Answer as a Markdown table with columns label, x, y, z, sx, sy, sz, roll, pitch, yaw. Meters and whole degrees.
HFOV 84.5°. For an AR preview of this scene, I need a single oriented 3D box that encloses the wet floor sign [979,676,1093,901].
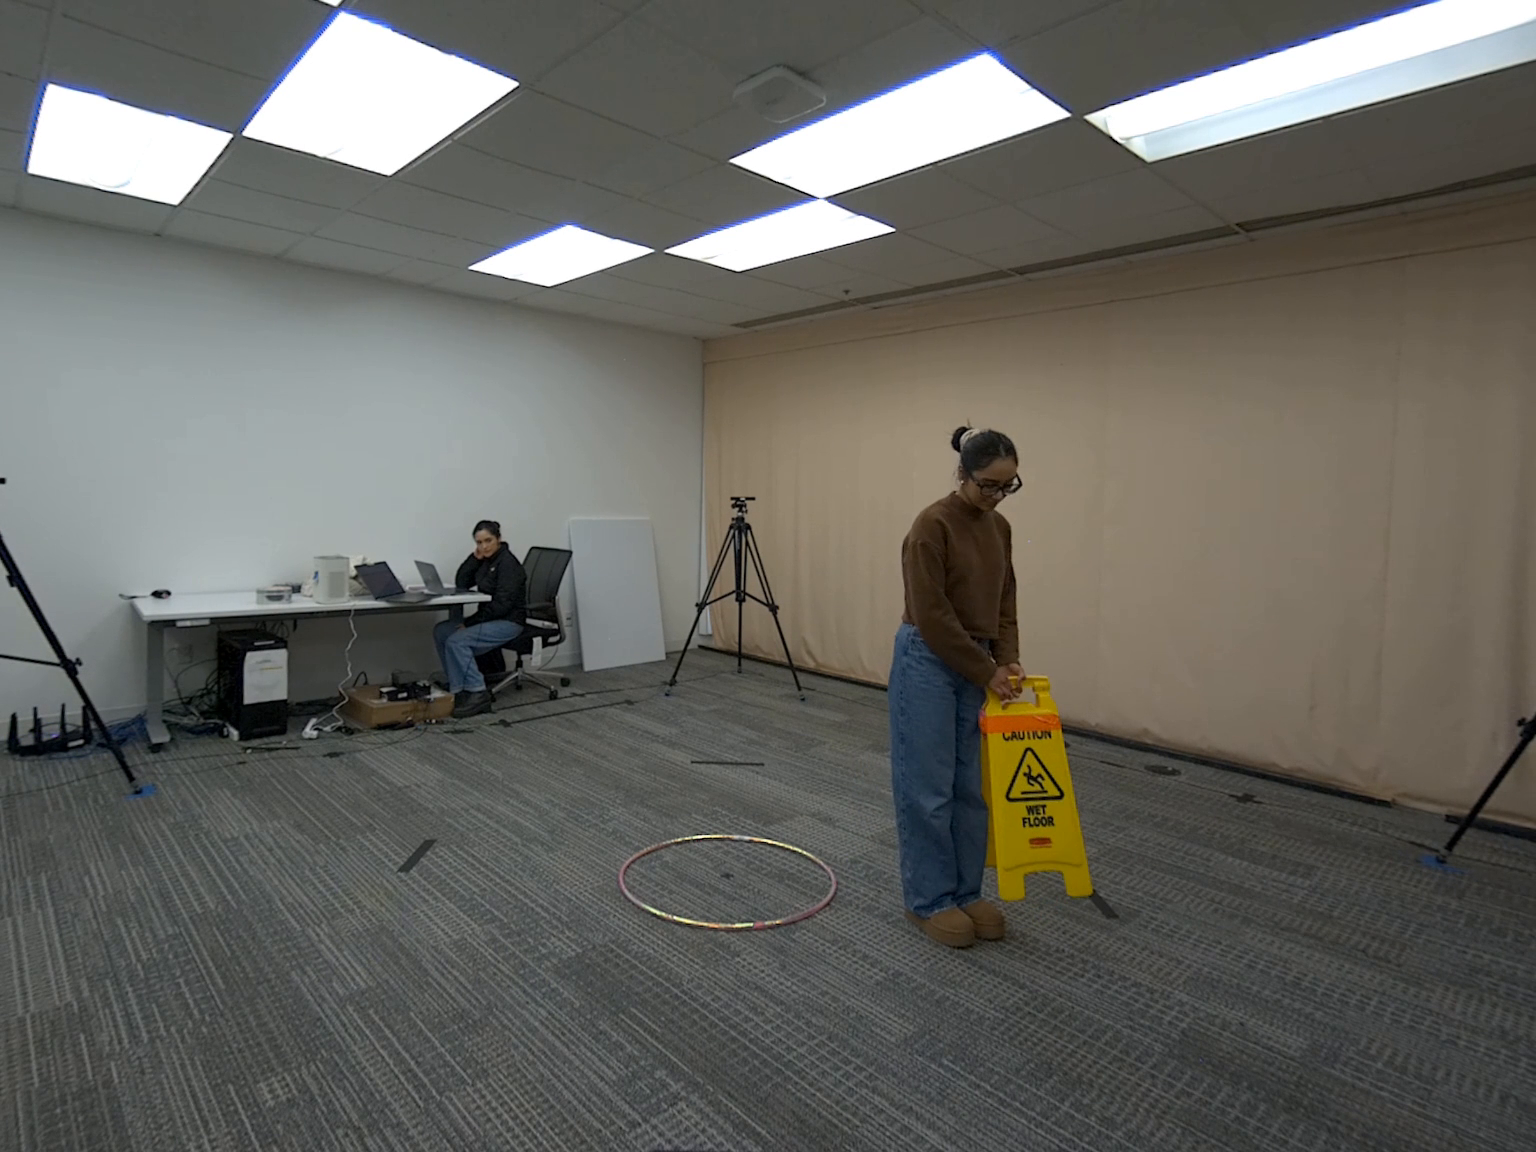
| label | x | y | z | sx | sy | sz | roll | pitch | yaw |
| --- | --- | --- | --- | --- | --- | --- | --- | --- | --- |
| wet floor sign | 0.809 | 0.645 | 2.673 | 0.282 | 0.647 | 0.290 | -4 | -1 | -2 |
